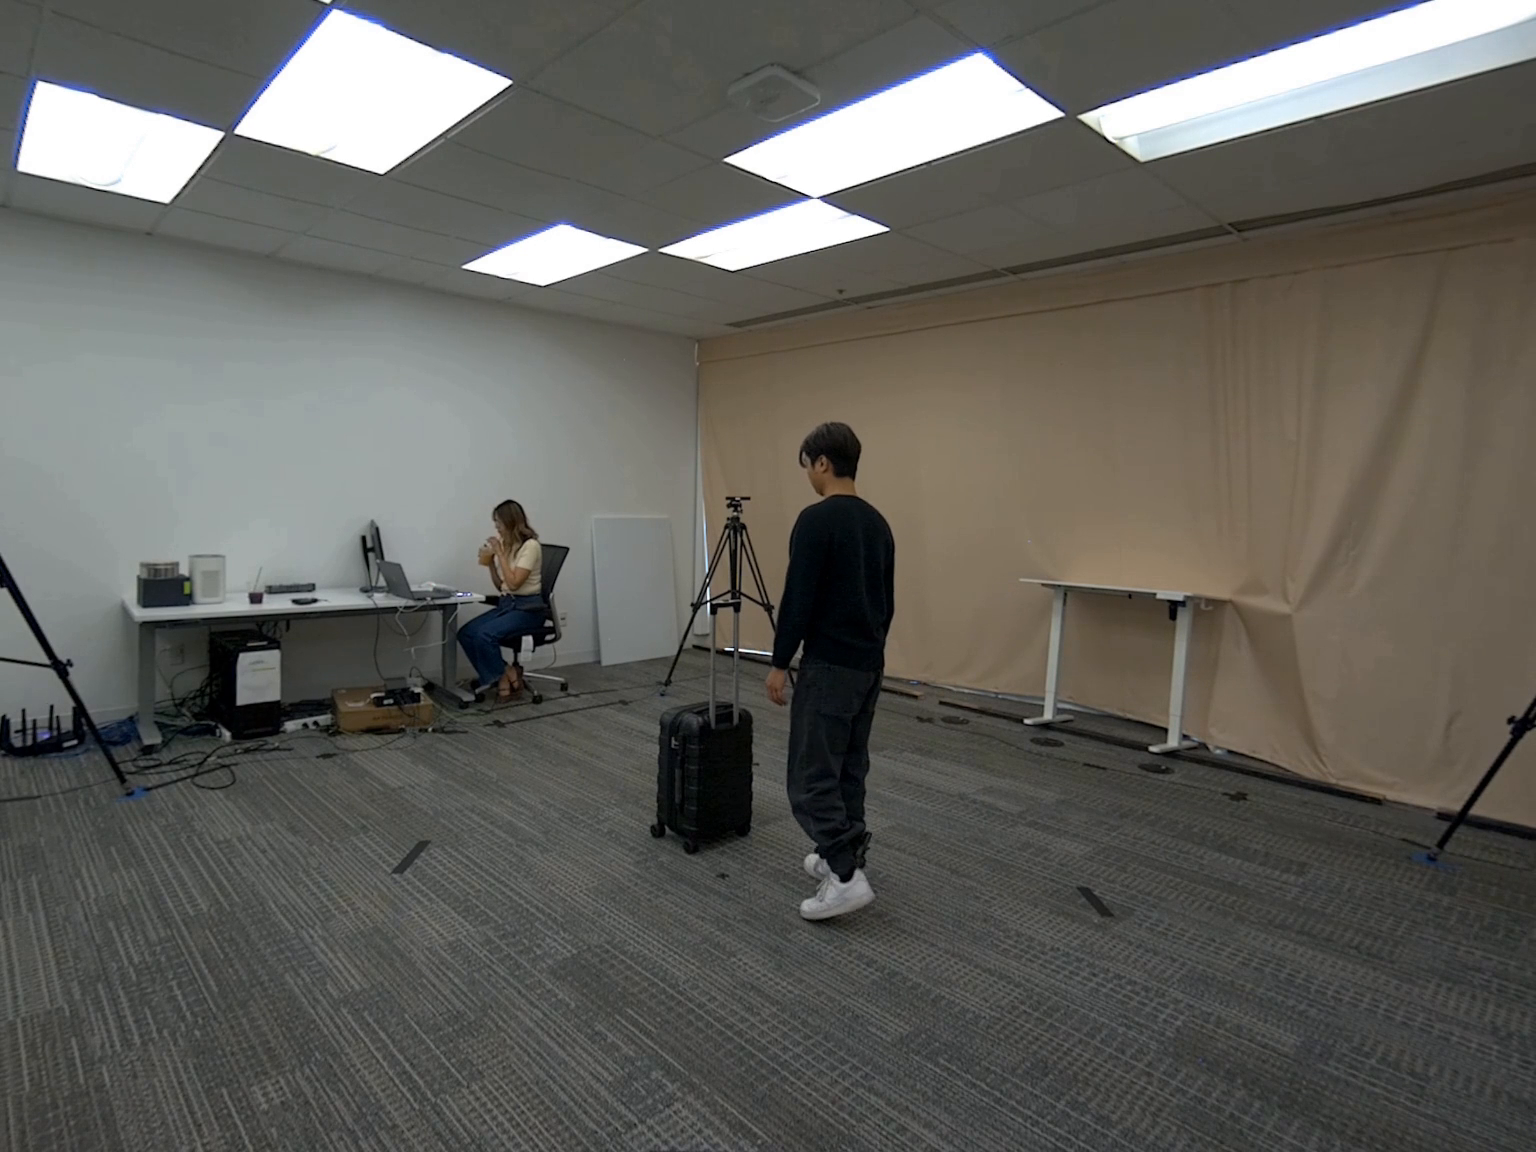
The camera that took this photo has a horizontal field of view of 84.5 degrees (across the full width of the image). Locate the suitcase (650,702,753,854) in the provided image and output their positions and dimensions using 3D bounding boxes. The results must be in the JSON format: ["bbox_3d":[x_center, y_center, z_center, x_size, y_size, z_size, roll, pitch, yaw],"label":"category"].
[{"bbox_3d":[-0.266,0.594,3.451,0.263,0.978,0.375,1,1,45],"label":"suitcase"}]
